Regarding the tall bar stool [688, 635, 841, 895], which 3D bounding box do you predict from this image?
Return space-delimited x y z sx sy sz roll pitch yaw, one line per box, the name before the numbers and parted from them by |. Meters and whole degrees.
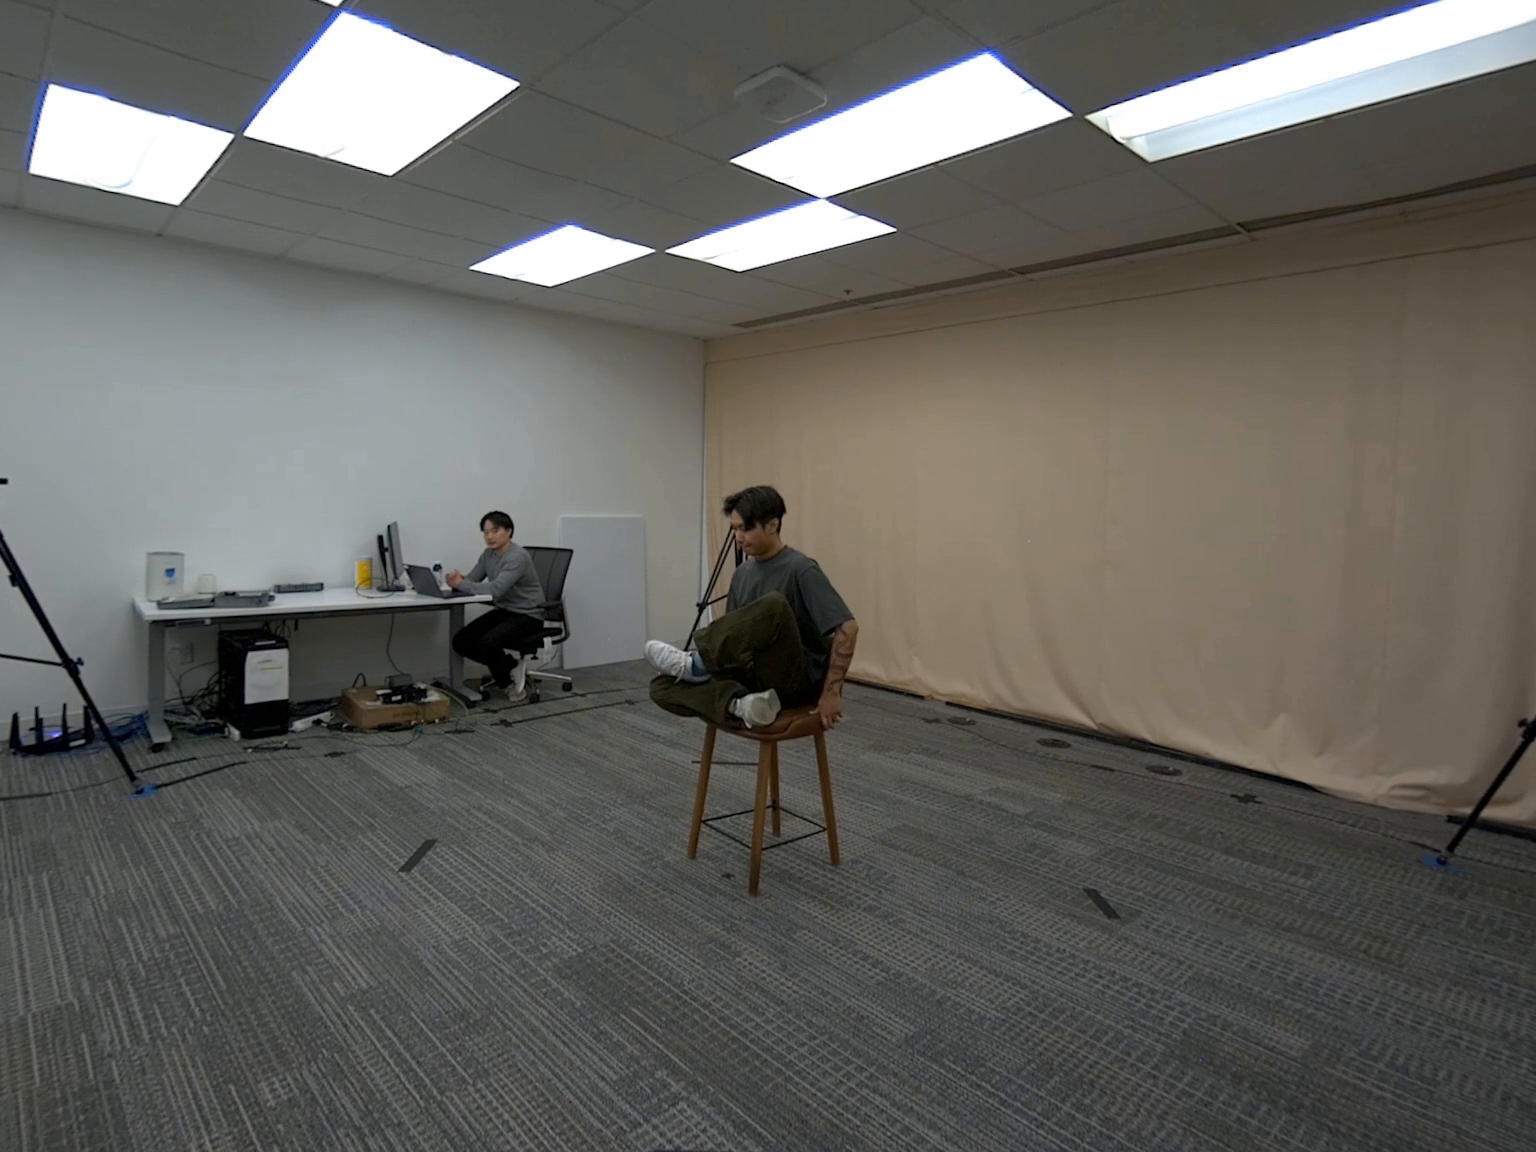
tall bar stool | -0.002 0.664 3.221 0.456 0.889 0.468 2 2 -39
